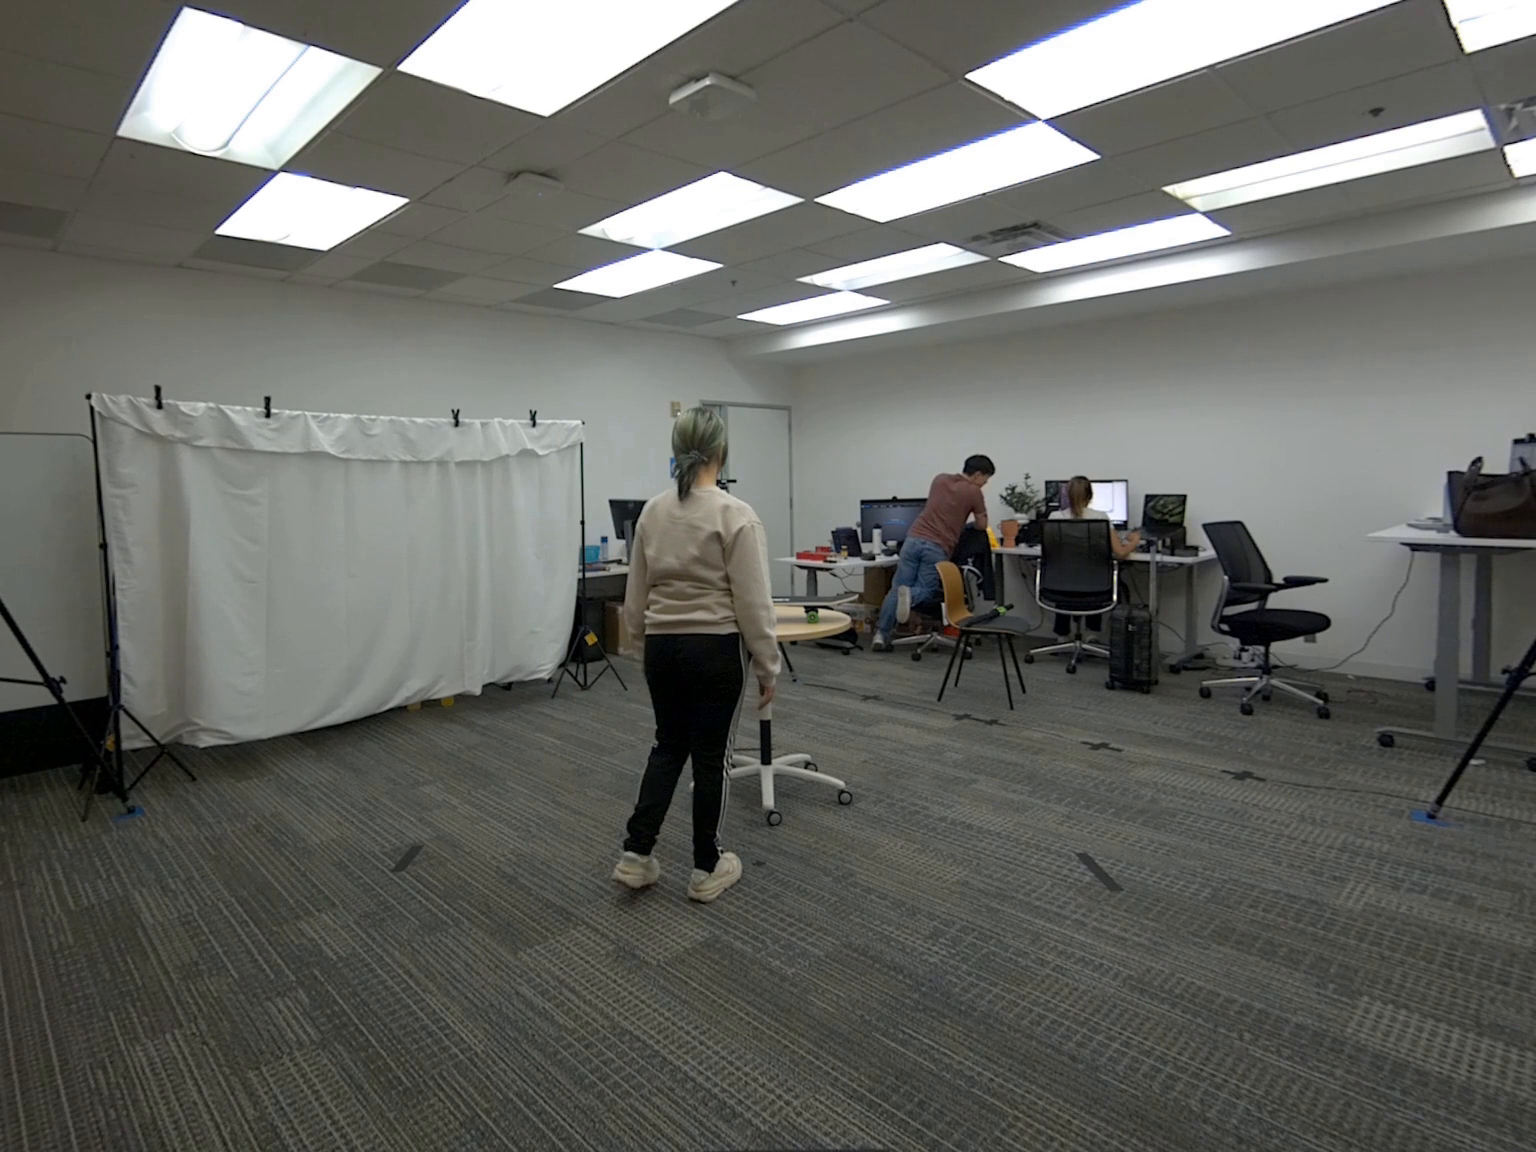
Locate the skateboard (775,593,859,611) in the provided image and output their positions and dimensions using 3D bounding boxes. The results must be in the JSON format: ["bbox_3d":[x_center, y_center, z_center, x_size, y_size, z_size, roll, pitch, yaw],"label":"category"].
[{"bbox_3d":[-0.012,0.149,3.726,0.790,0.110,0.193,-1,6,6],"label":"skateboard"}]
